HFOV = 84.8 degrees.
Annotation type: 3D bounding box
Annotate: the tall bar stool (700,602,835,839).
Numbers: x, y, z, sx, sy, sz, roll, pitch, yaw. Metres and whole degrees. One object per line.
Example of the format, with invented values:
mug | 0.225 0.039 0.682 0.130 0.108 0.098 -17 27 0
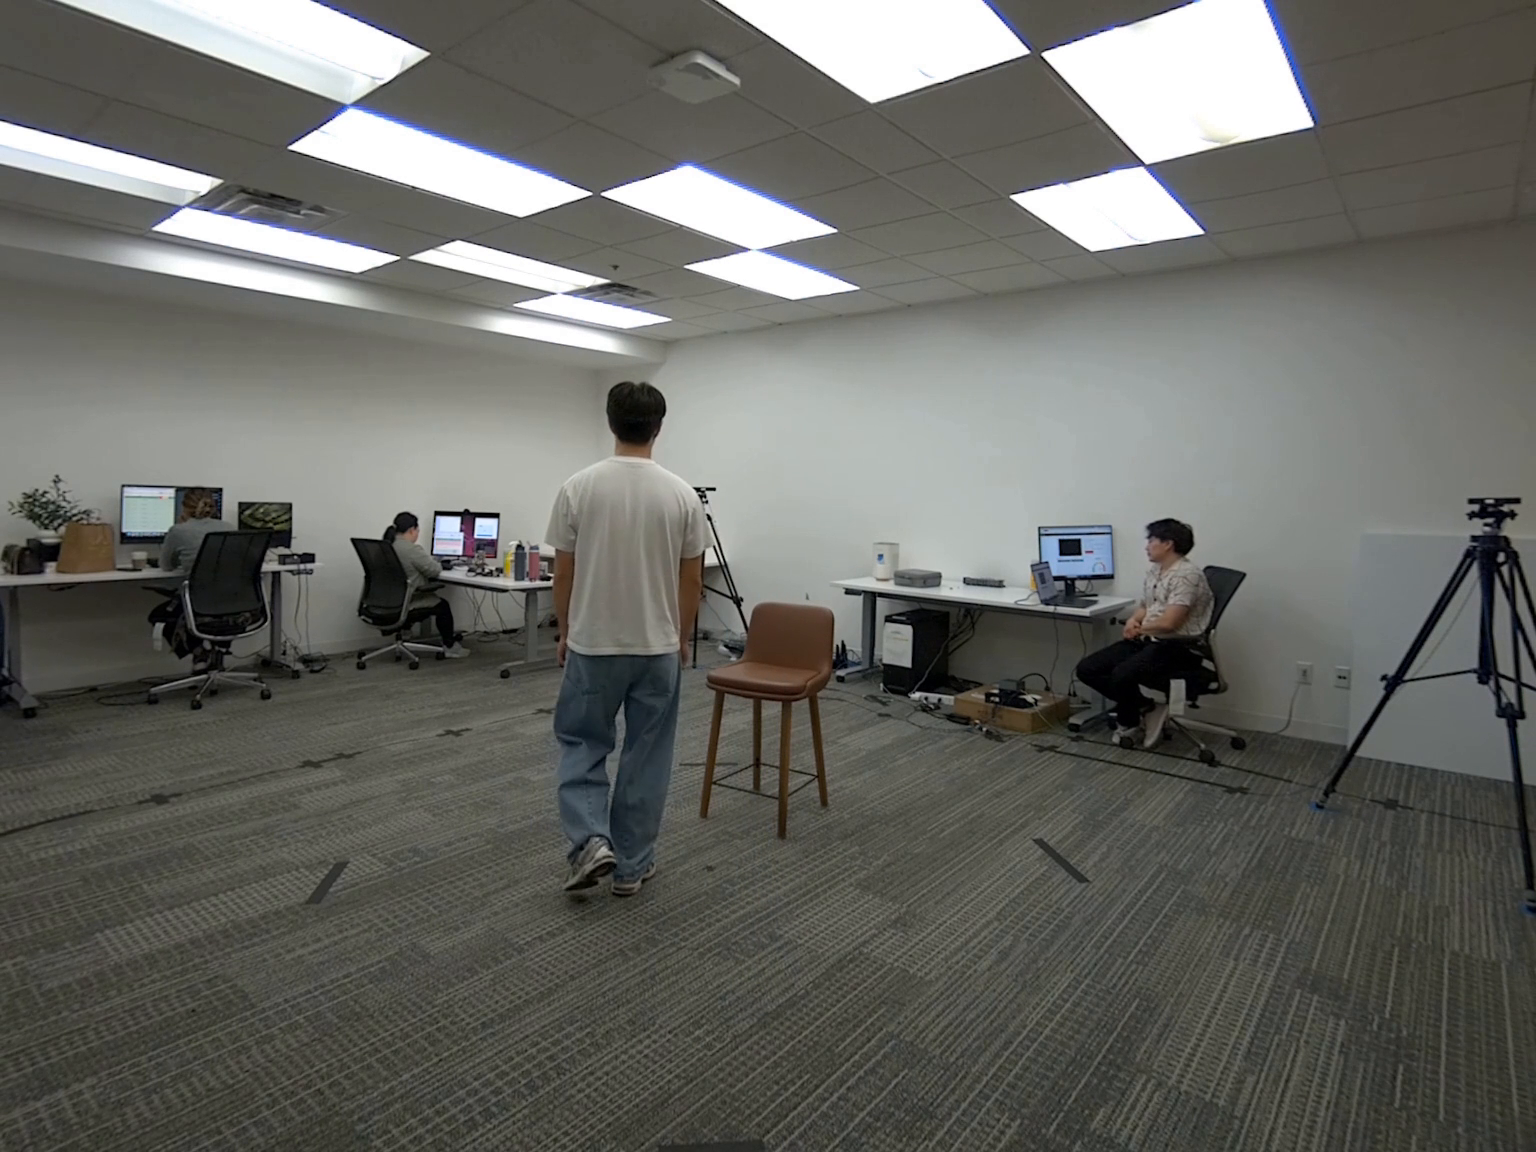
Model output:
tall bar stool | 0.001 0.582 3.664 0.470 0.889 0.454 4 2 32
